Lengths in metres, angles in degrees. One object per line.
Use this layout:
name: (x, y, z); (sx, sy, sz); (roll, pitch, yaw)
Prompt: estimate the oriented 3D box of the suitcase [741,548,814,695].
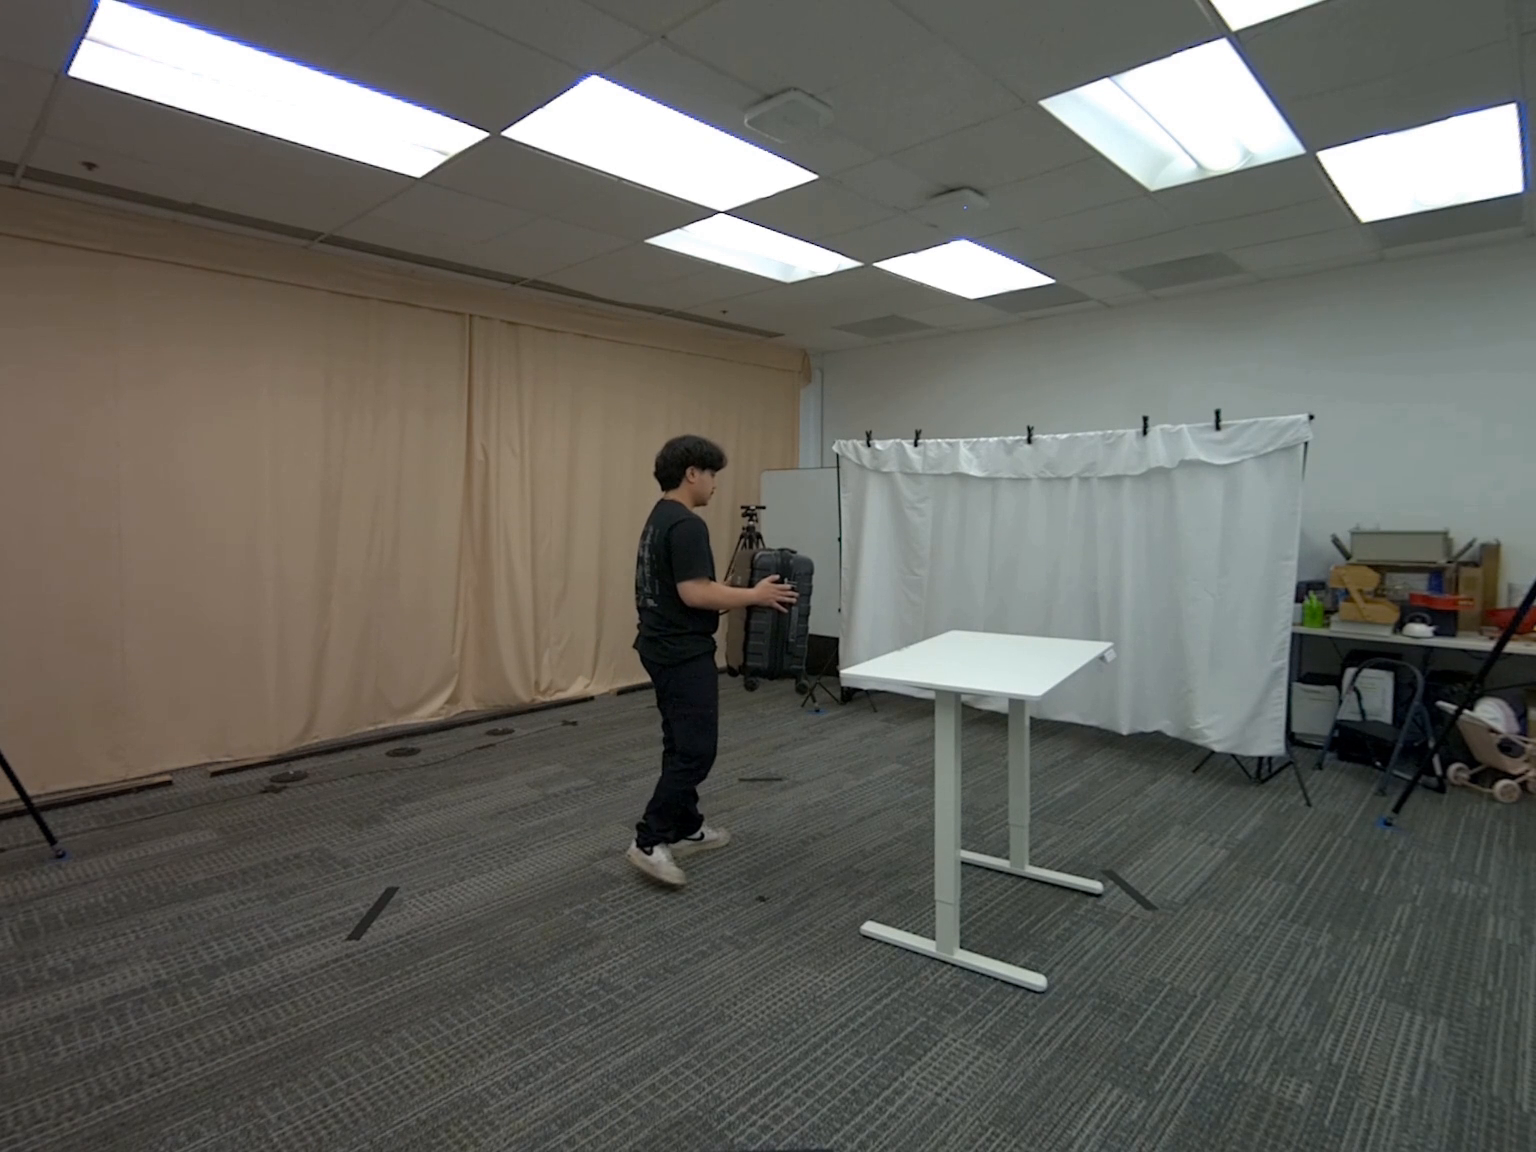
suitcase: (0.007, 0.157, 3.370); (0.244, 0.549, 0.382); (5, 2, -16)
